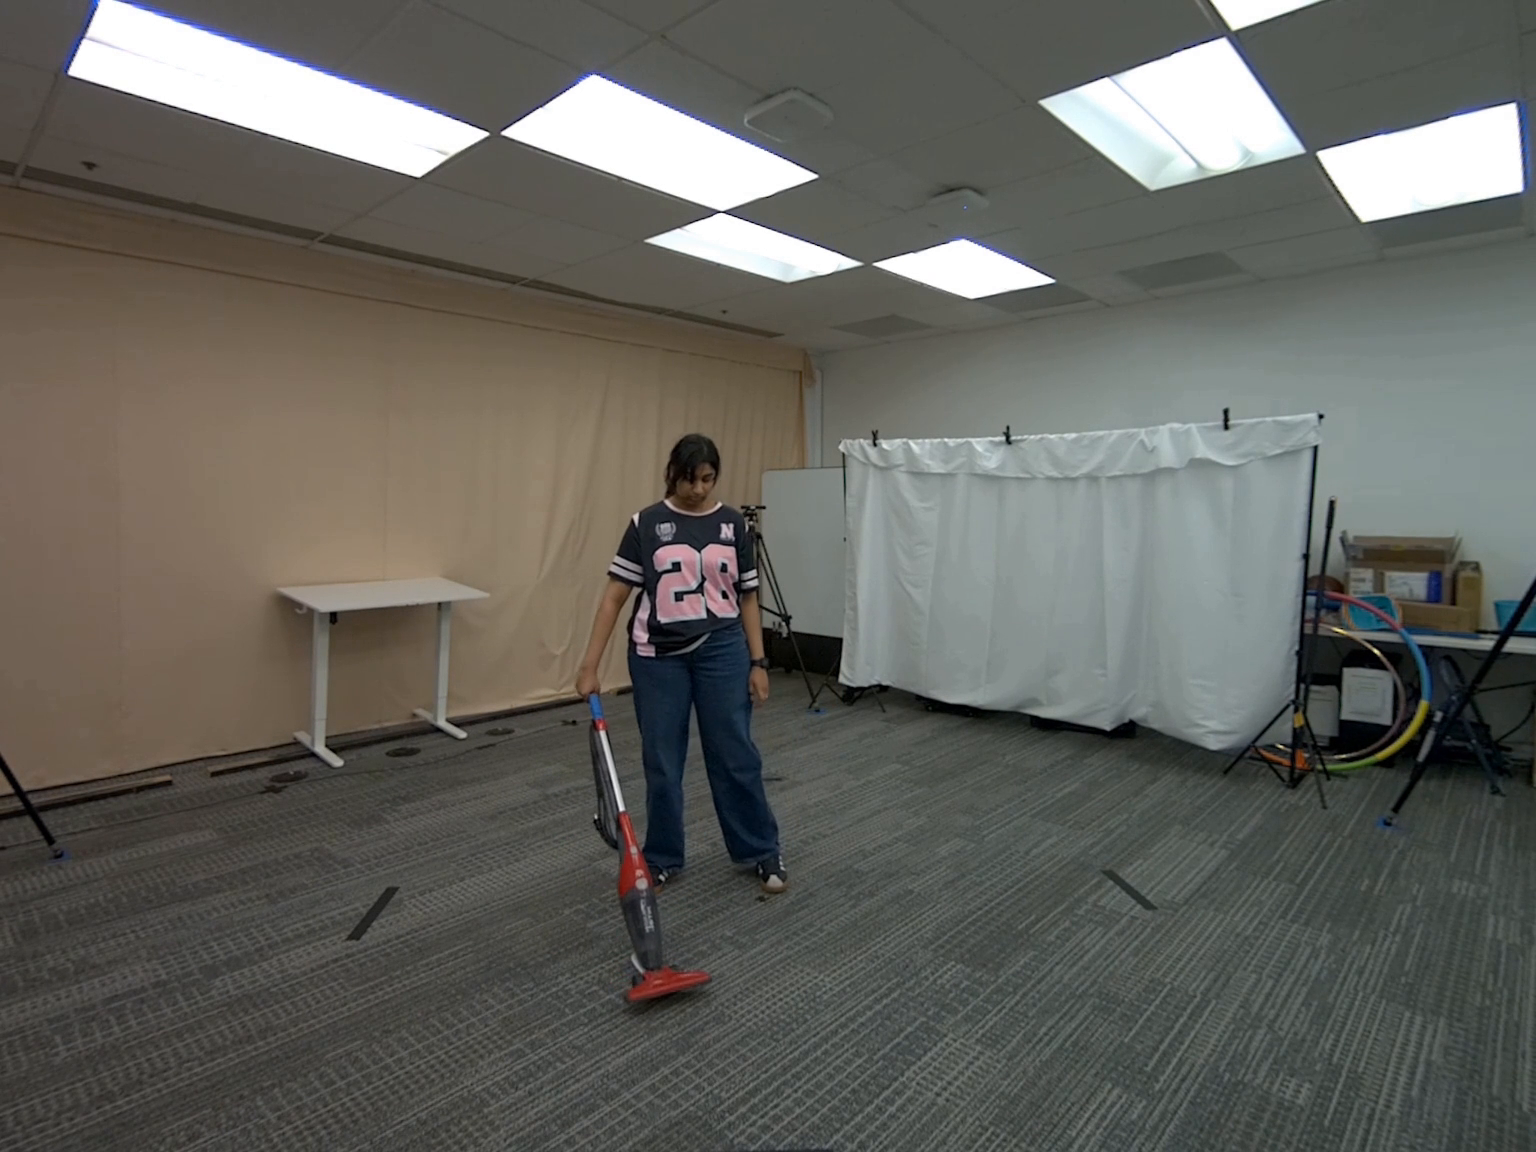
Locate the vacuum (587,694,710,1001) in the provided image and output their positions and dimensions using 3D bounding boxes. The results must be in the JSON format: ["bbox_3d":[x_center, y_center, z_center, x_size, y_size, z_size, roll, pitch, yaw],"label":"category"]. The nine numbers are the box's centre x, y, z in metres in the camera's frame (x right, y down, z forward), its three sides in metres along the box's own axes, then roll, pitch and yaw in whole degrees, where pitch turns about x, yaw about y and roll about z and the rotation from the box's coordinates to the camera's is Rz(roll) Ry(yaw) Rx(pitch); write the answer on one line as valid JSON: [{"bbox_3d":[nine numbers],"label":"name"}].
[{"bbox_3d":[-0.471,0.774,2.702,0.246,0.143,1.080,0,46,-29],"label":"vacuum"}]
